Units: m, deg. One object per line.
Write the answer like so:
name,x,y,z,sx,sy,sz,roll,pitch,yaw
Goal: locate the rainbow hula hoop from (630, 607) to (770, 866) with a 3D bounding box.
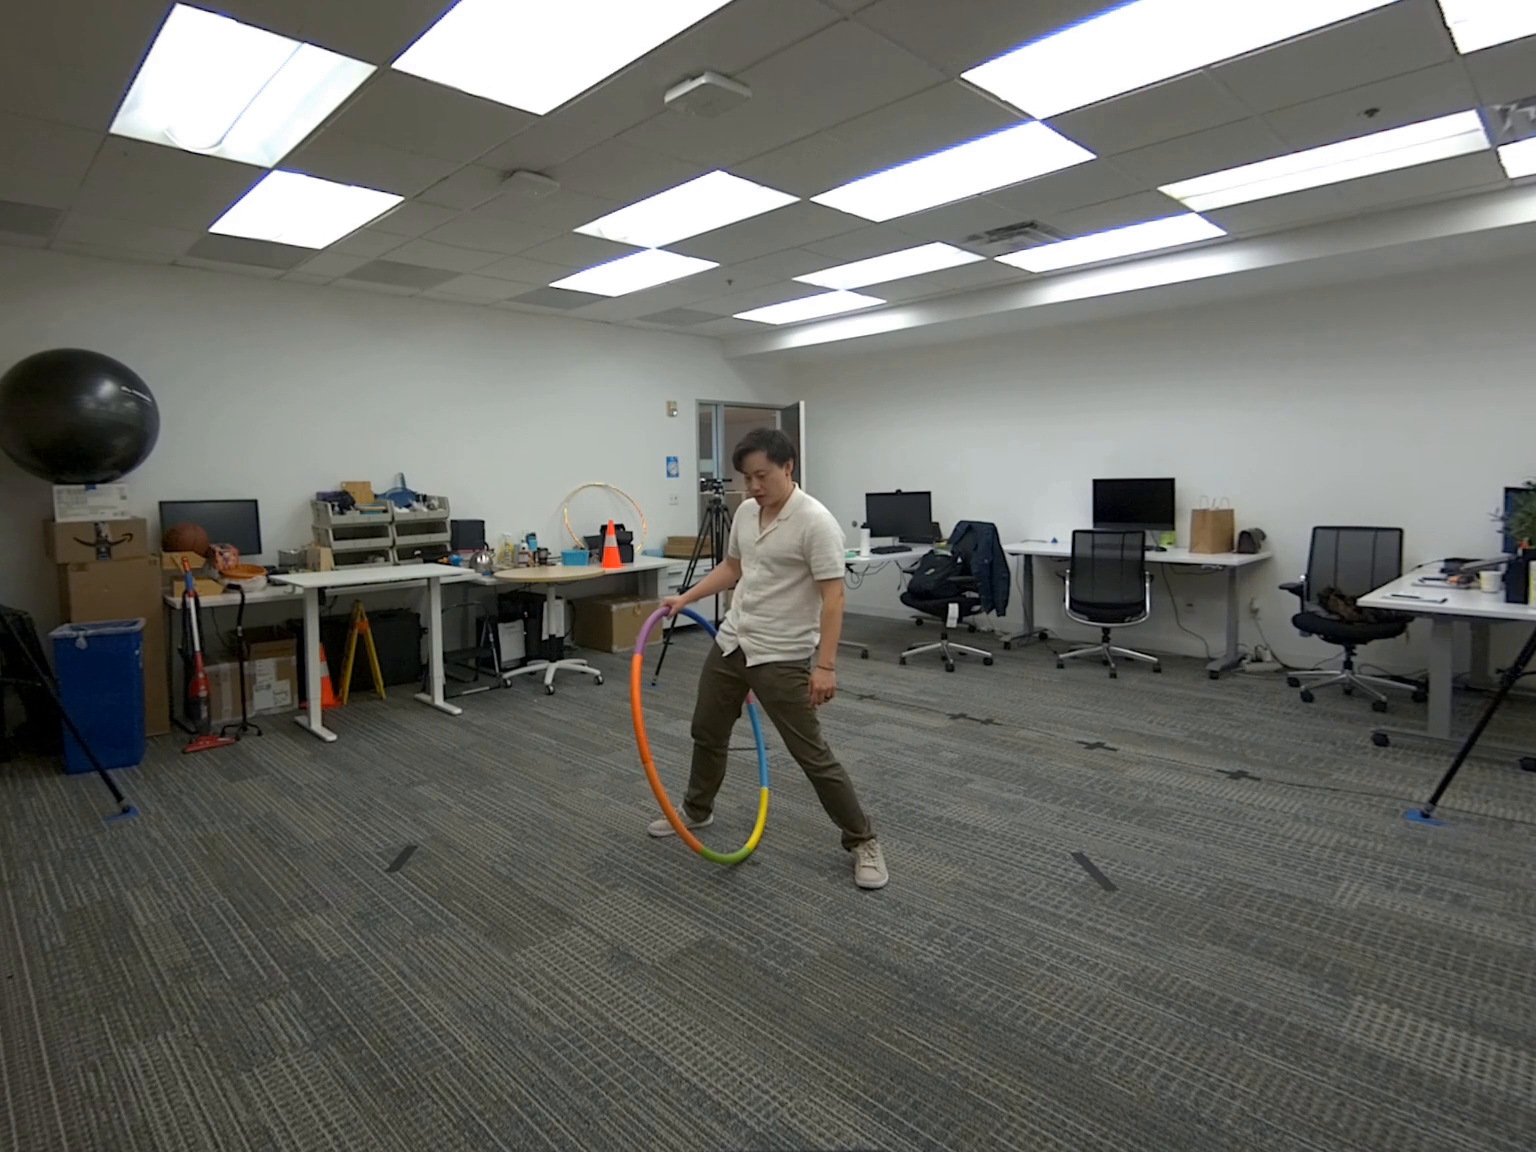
rainbow hula hoop,-0.229,0.575,3.233,0.036,0.983,0.965,-22,-3,19
